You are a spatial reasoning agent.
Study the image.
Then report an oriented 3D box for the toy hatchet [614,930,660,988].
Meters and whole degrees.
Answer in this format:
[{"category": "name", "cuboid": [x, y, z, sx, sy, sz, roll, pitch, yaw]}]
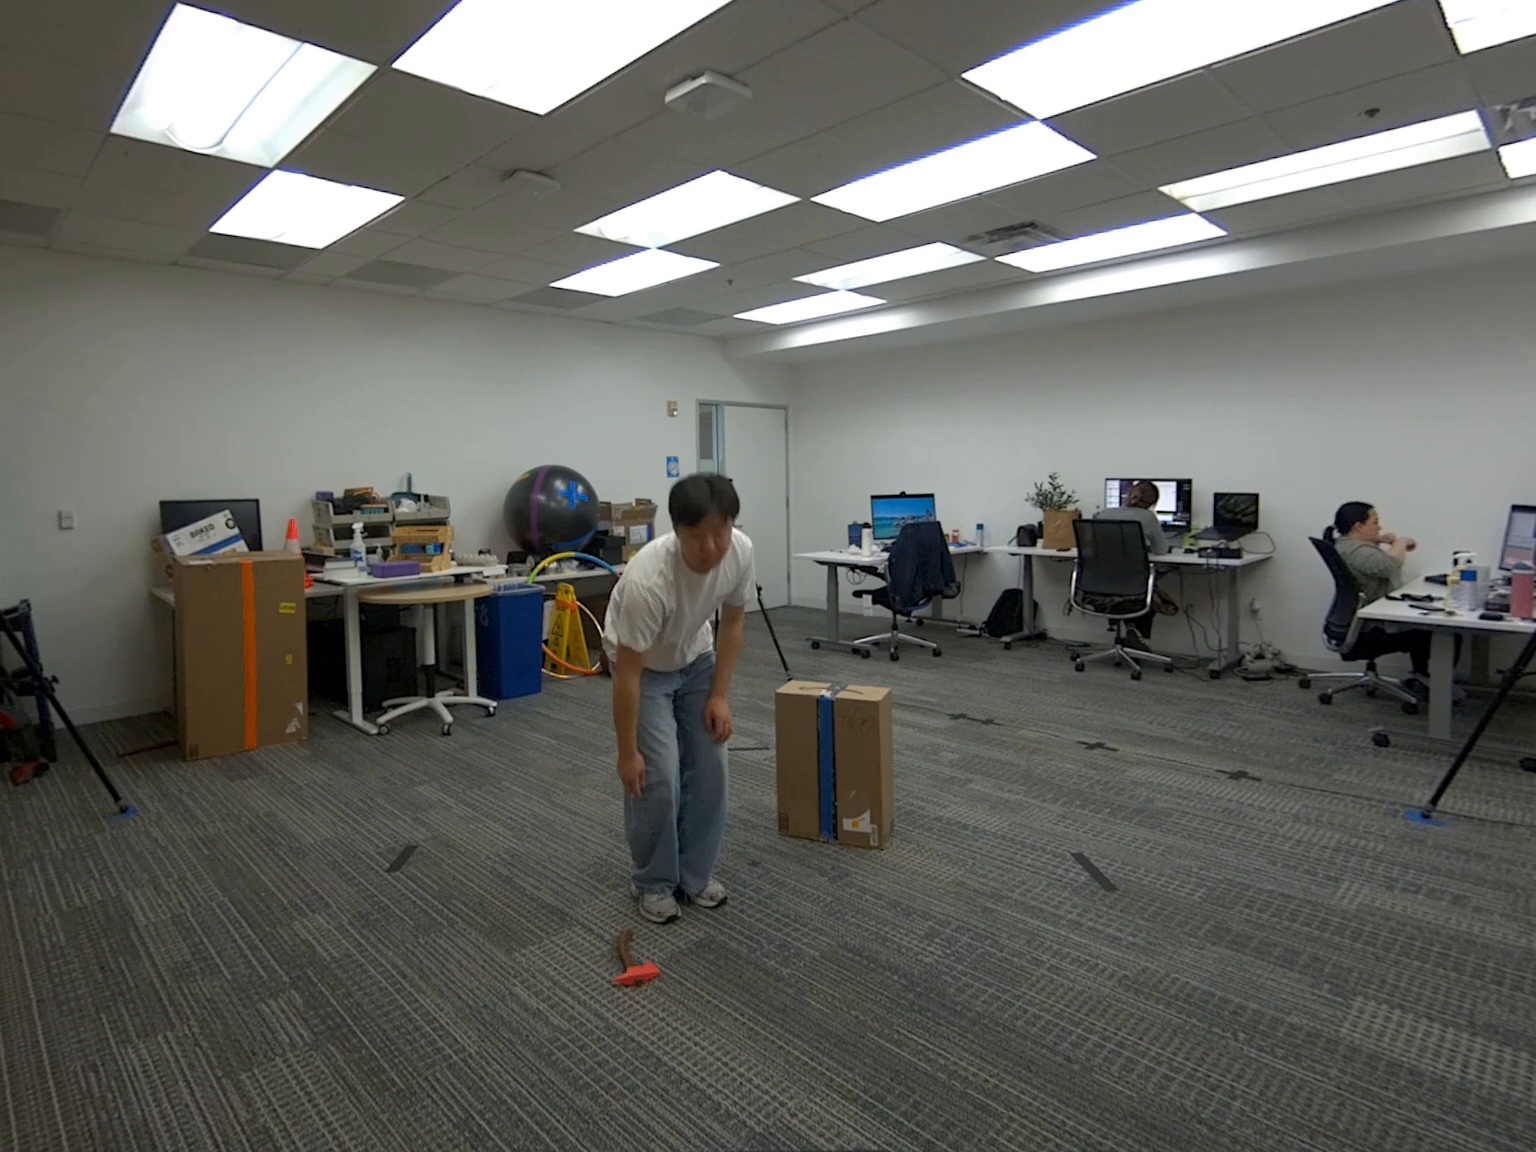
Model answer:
[{"category": "toy hatchet", "cuboid": [-0.376, 1.116, 2.496, 0.130, 0.029, 0.272, -2, 6, -5]}]
